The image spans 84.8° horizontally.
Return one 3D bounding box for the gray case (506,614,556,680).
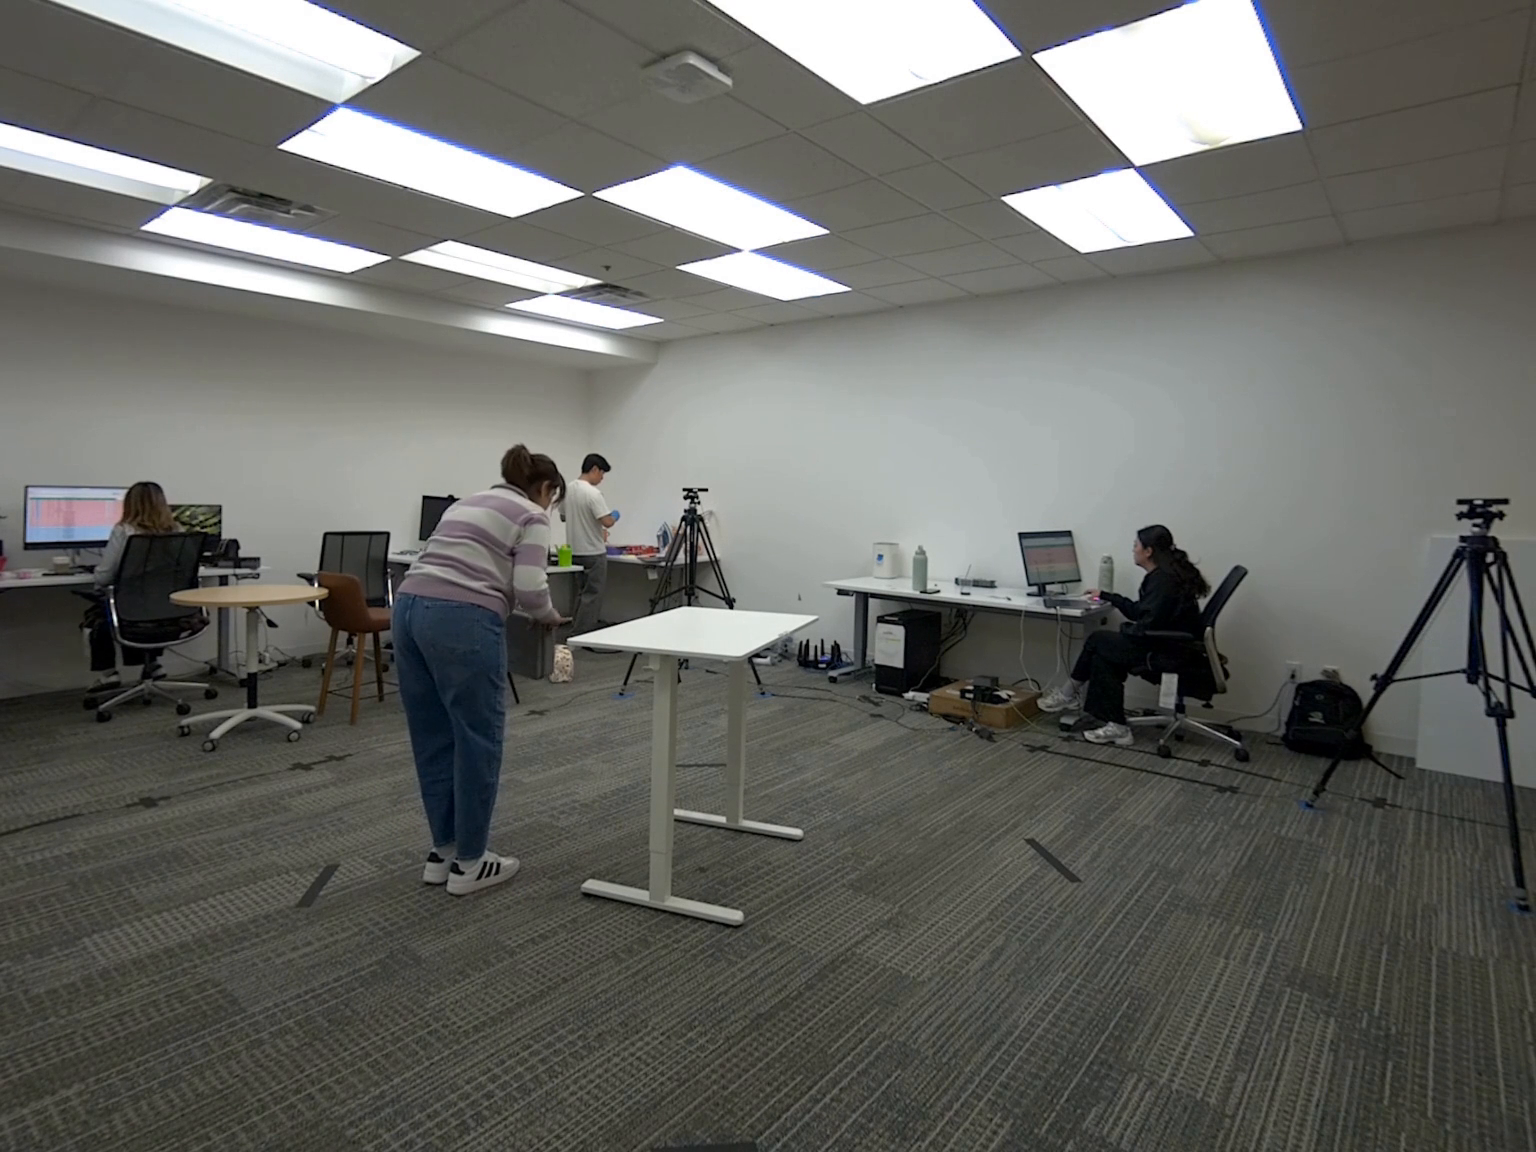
[{"bbox_3d":[-0.960,0.251,3.275,0.266,0.259,0.101,9,9,36],"label":"gray case"}]
